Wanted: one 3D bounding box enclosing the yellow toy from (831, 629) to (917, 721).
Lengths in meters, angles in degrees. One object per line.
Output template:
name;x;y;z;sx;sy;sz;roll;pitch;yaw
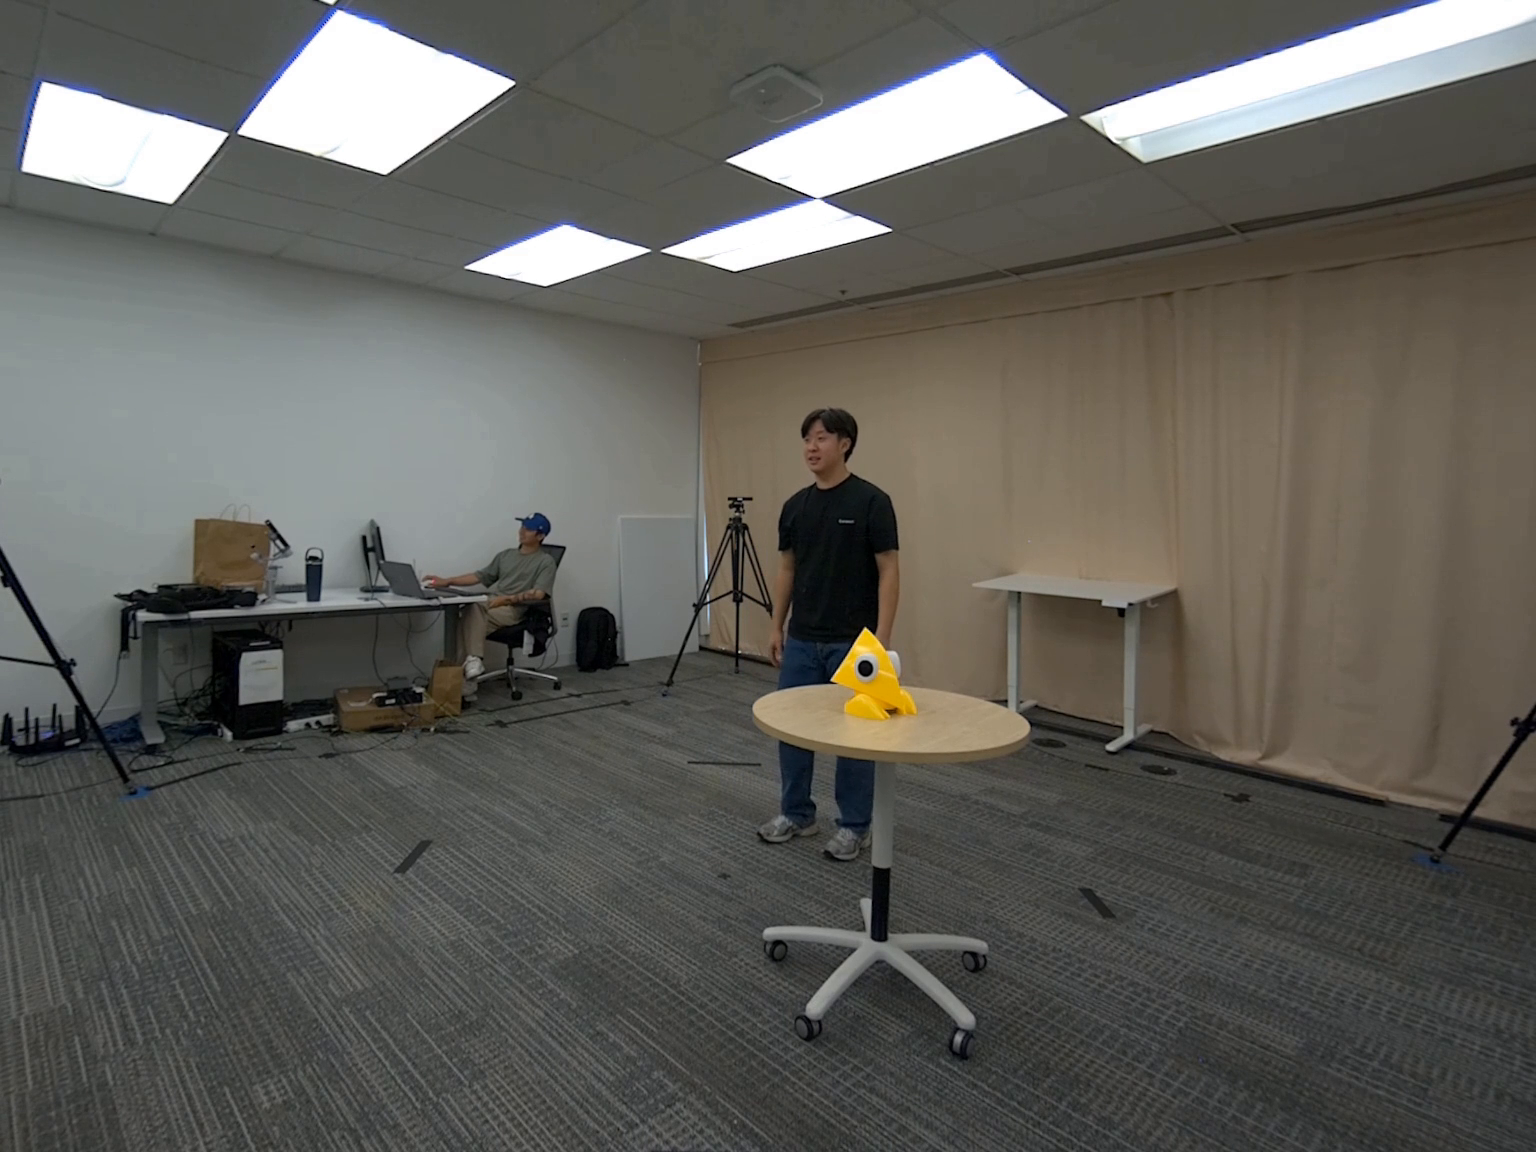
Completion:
yellow toy;0.308;0.275;2.405;0.200;0.230;0.198;-1;5;-37
